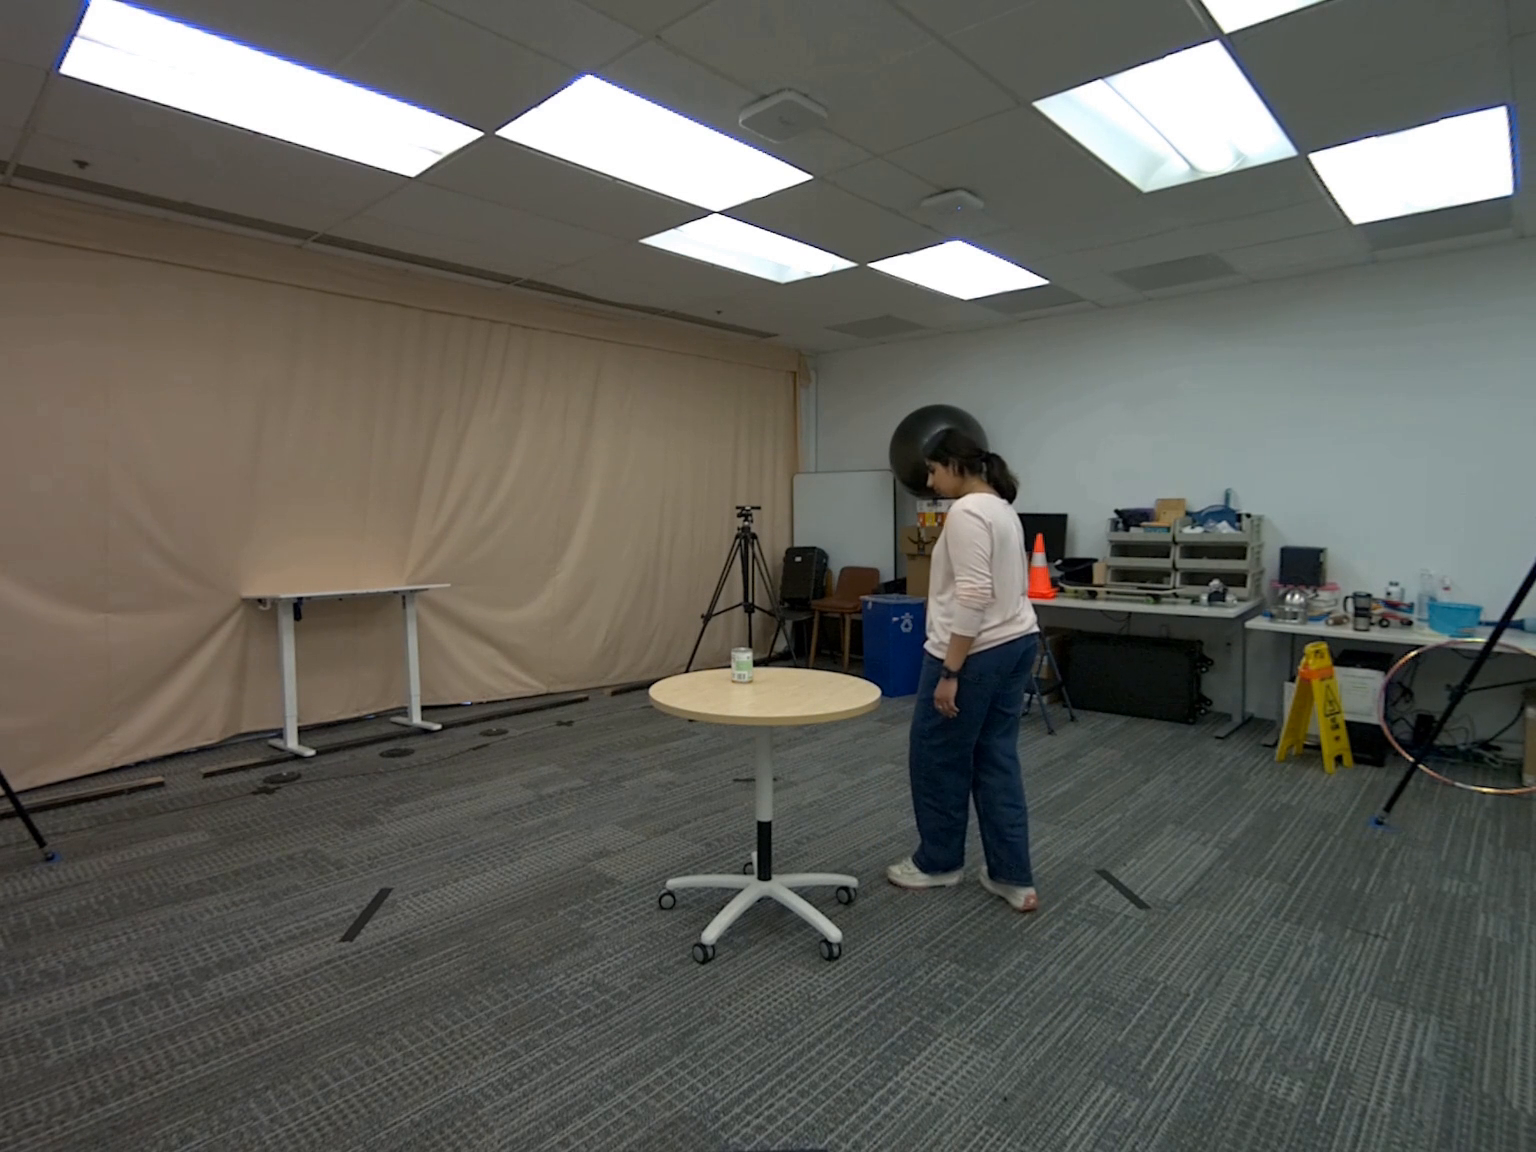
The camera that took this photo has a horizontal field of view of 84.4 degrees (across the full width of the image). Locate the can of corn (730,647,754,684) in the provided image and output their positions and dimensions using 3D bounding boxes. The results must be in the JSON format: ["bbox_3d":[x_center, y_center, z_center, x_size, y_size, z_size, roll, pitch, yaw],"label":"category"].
[{"bbox_3d":[-0.085,0.314,2.924,0.074,0.110,0.074,0,5,-2],"label":"can of corn"}]
